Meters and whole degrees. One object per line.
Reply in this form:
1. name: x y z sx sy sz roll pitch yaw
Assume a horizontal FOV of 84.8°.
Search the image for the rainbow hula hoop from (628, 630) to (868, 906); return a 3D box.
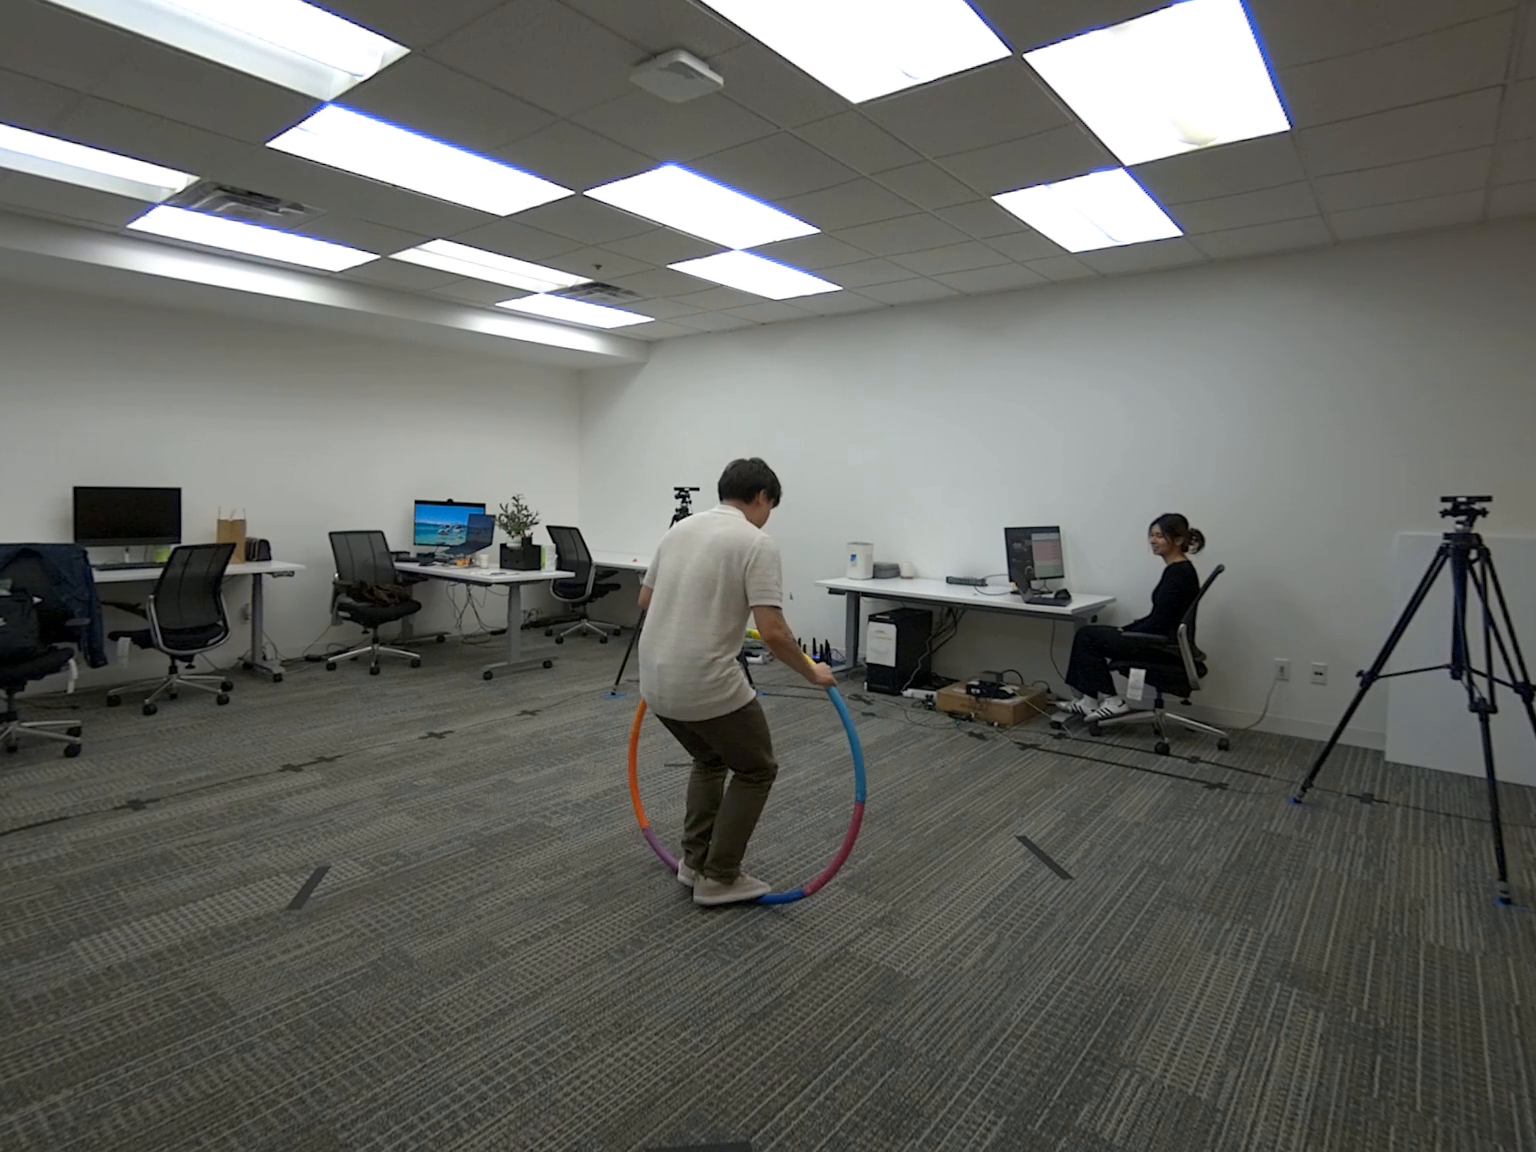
1. rainbow hula hoop: -0.139 0.648 3.002 1.011 0.984 0.034 4 -8 37
